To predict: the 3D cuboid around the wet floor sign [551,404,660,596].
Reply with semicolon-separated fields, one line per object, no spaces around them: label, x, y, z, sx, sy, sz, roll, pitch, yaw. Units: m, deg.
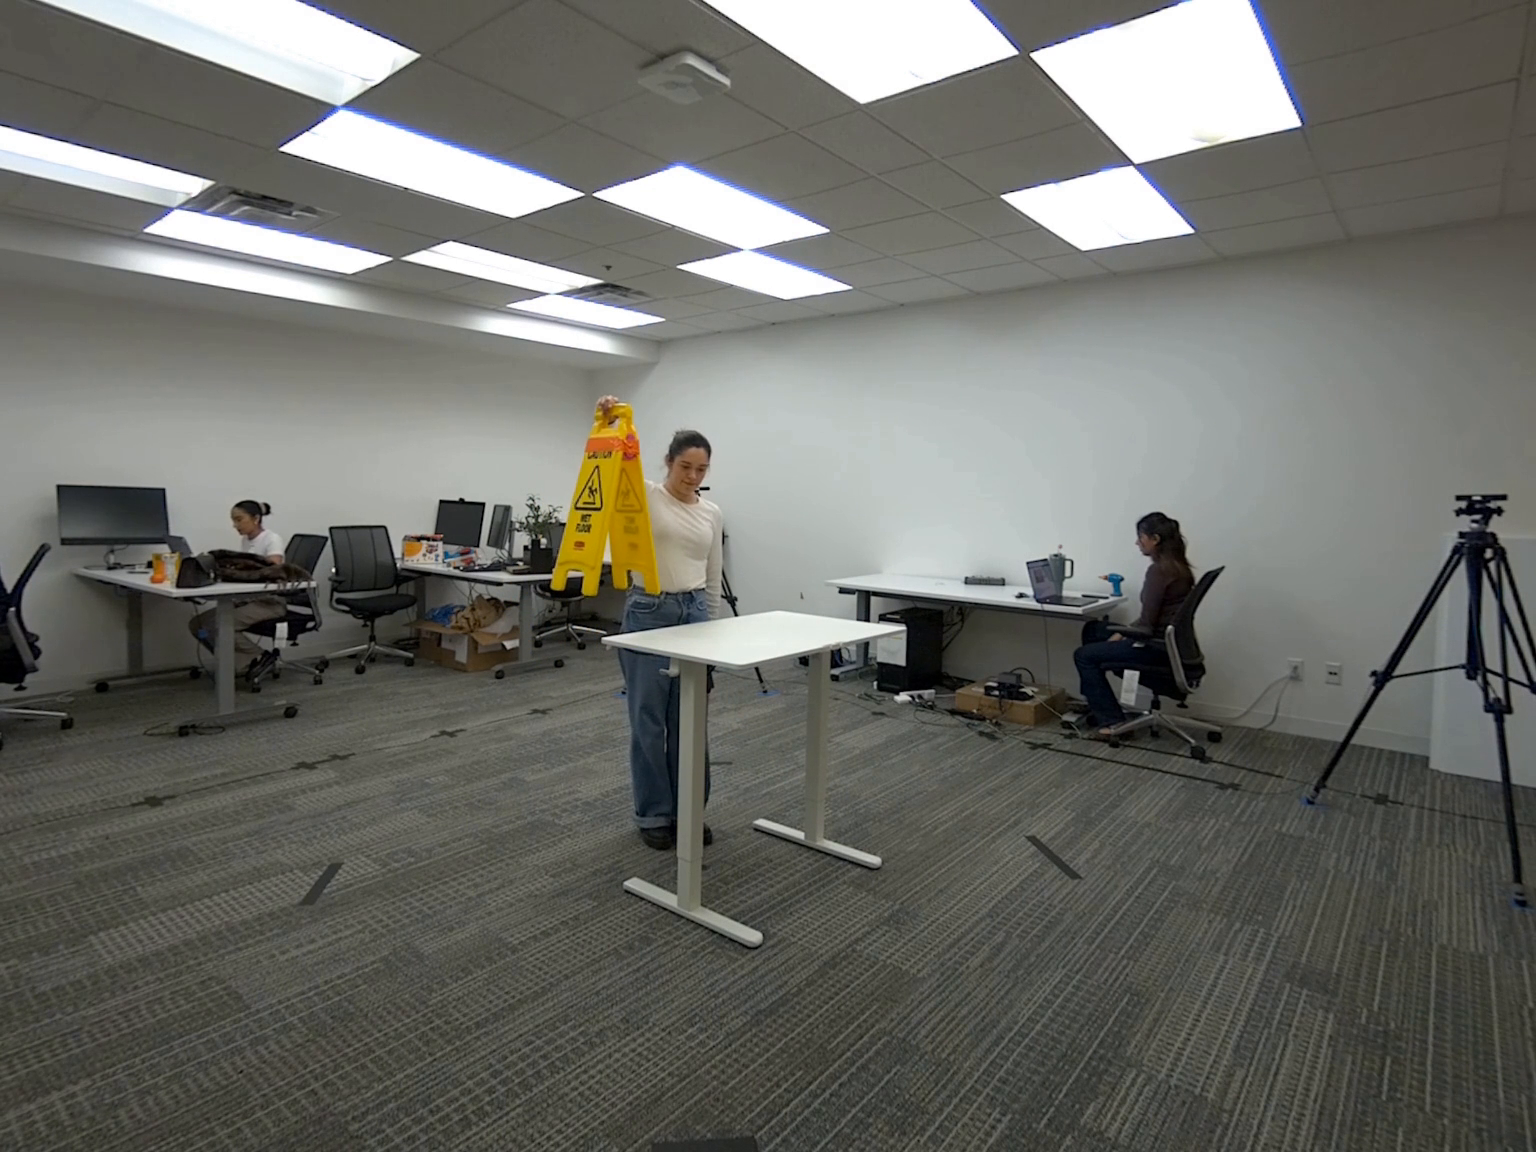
wet floor sign;-0.559;-0.269;2.950;0.280;0.645;0.292;0;3;-43
